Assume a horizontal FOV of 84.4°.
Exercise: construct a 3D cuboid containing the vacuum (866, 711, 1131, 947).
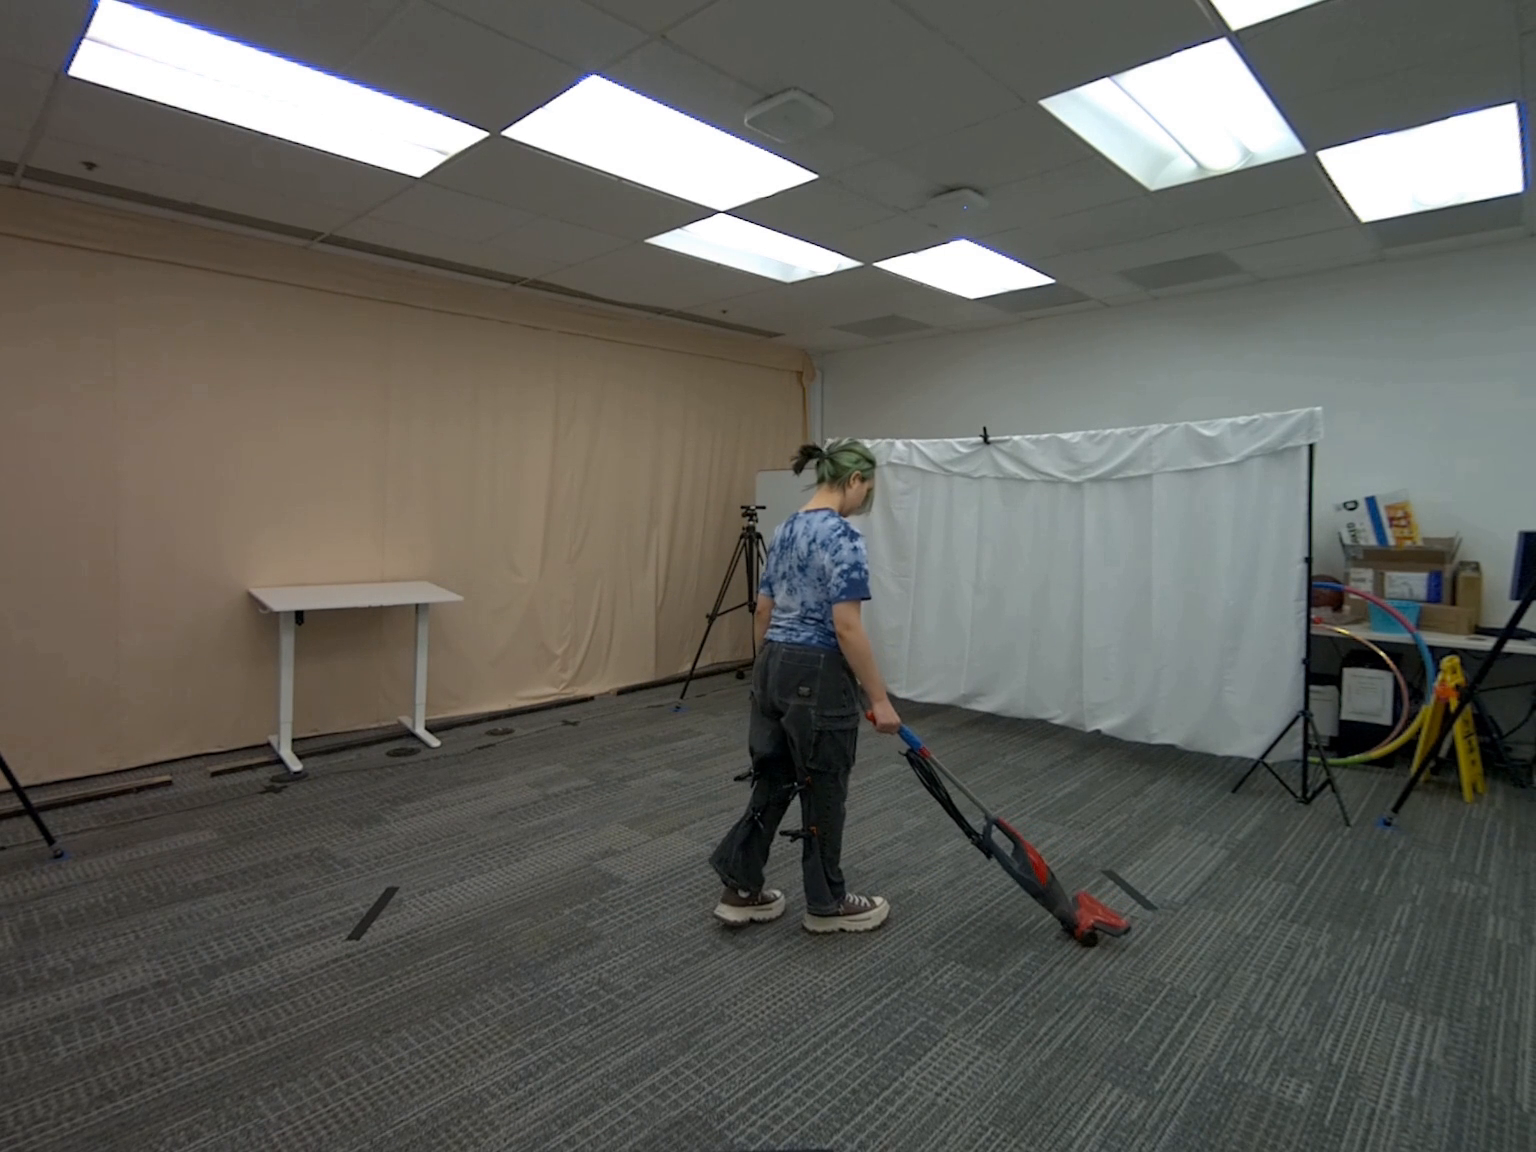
[{"bbox_3d":[0.681,0.791,2.639,1.038,0.144,0.255,41,-5,-8],"label":"vacuum"}]
